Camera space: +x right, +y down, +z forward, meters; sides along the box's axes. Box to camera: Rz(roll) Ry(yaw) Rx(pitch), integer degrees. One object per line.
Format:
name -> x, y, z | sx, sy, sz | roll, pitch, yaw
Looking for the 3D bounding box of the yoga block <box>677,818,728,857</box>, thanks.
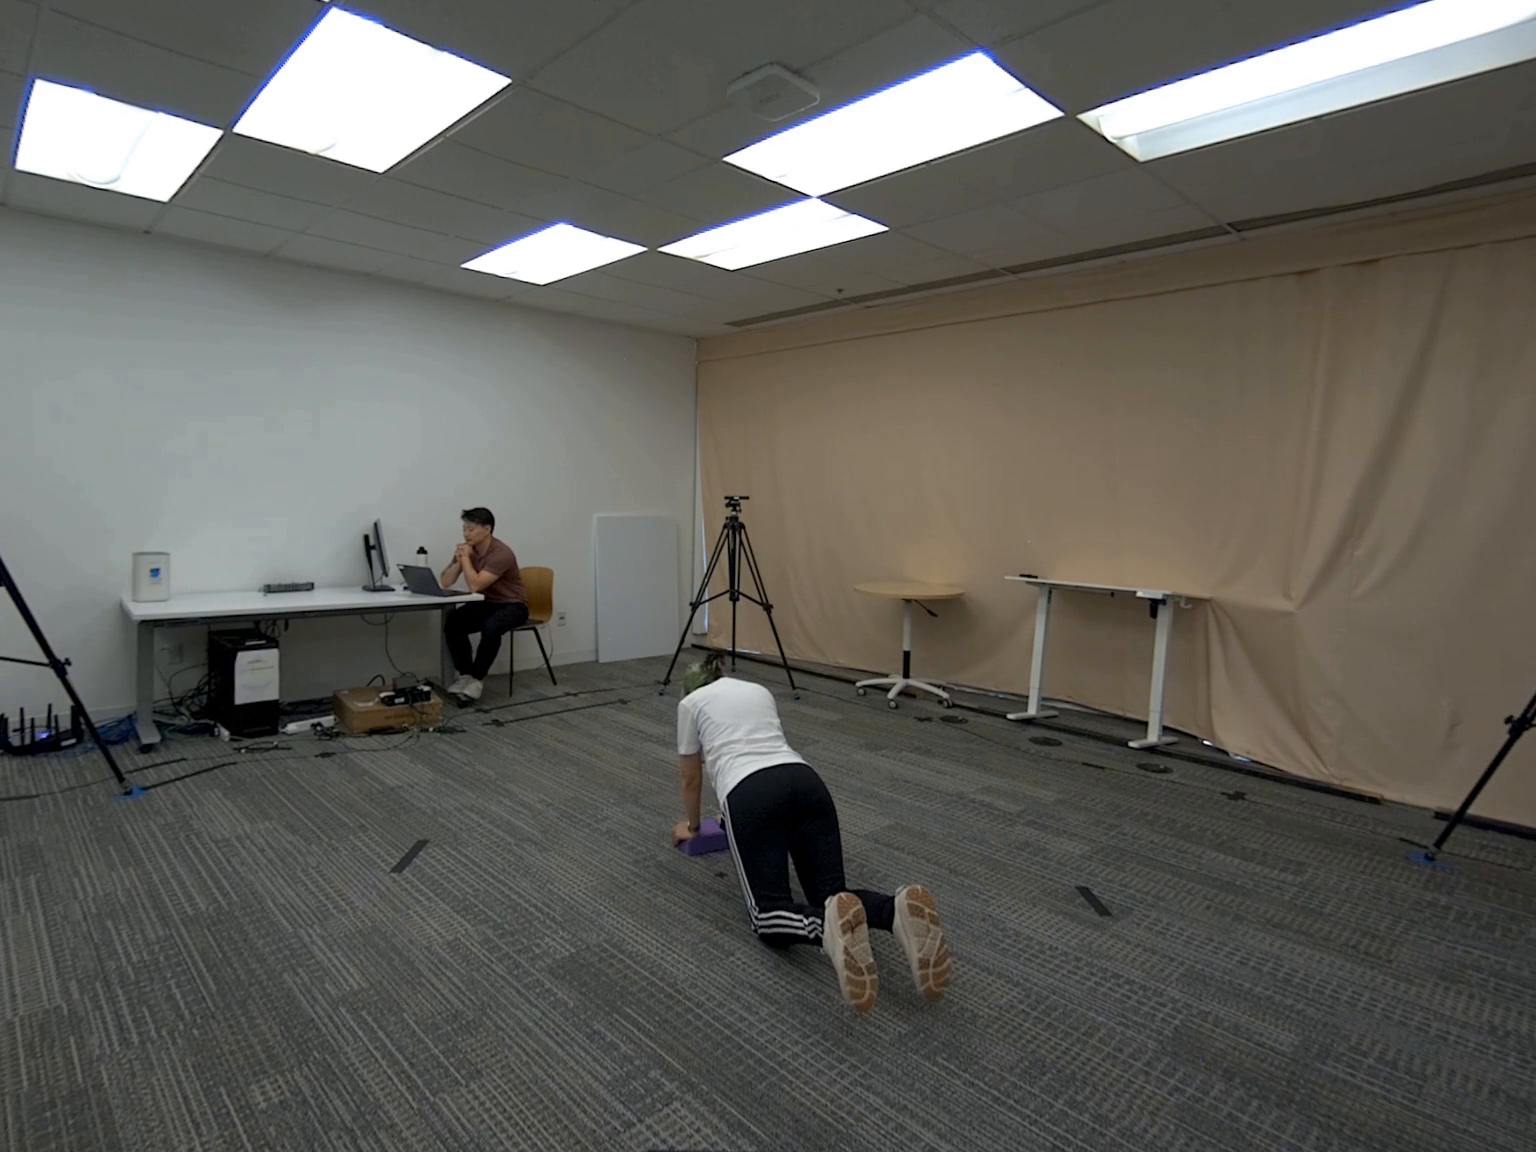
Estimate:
yoga block -> -0.255, 1.040, 3.364 | 0.225, 0.076, 0.152 | -2, 5, -31
